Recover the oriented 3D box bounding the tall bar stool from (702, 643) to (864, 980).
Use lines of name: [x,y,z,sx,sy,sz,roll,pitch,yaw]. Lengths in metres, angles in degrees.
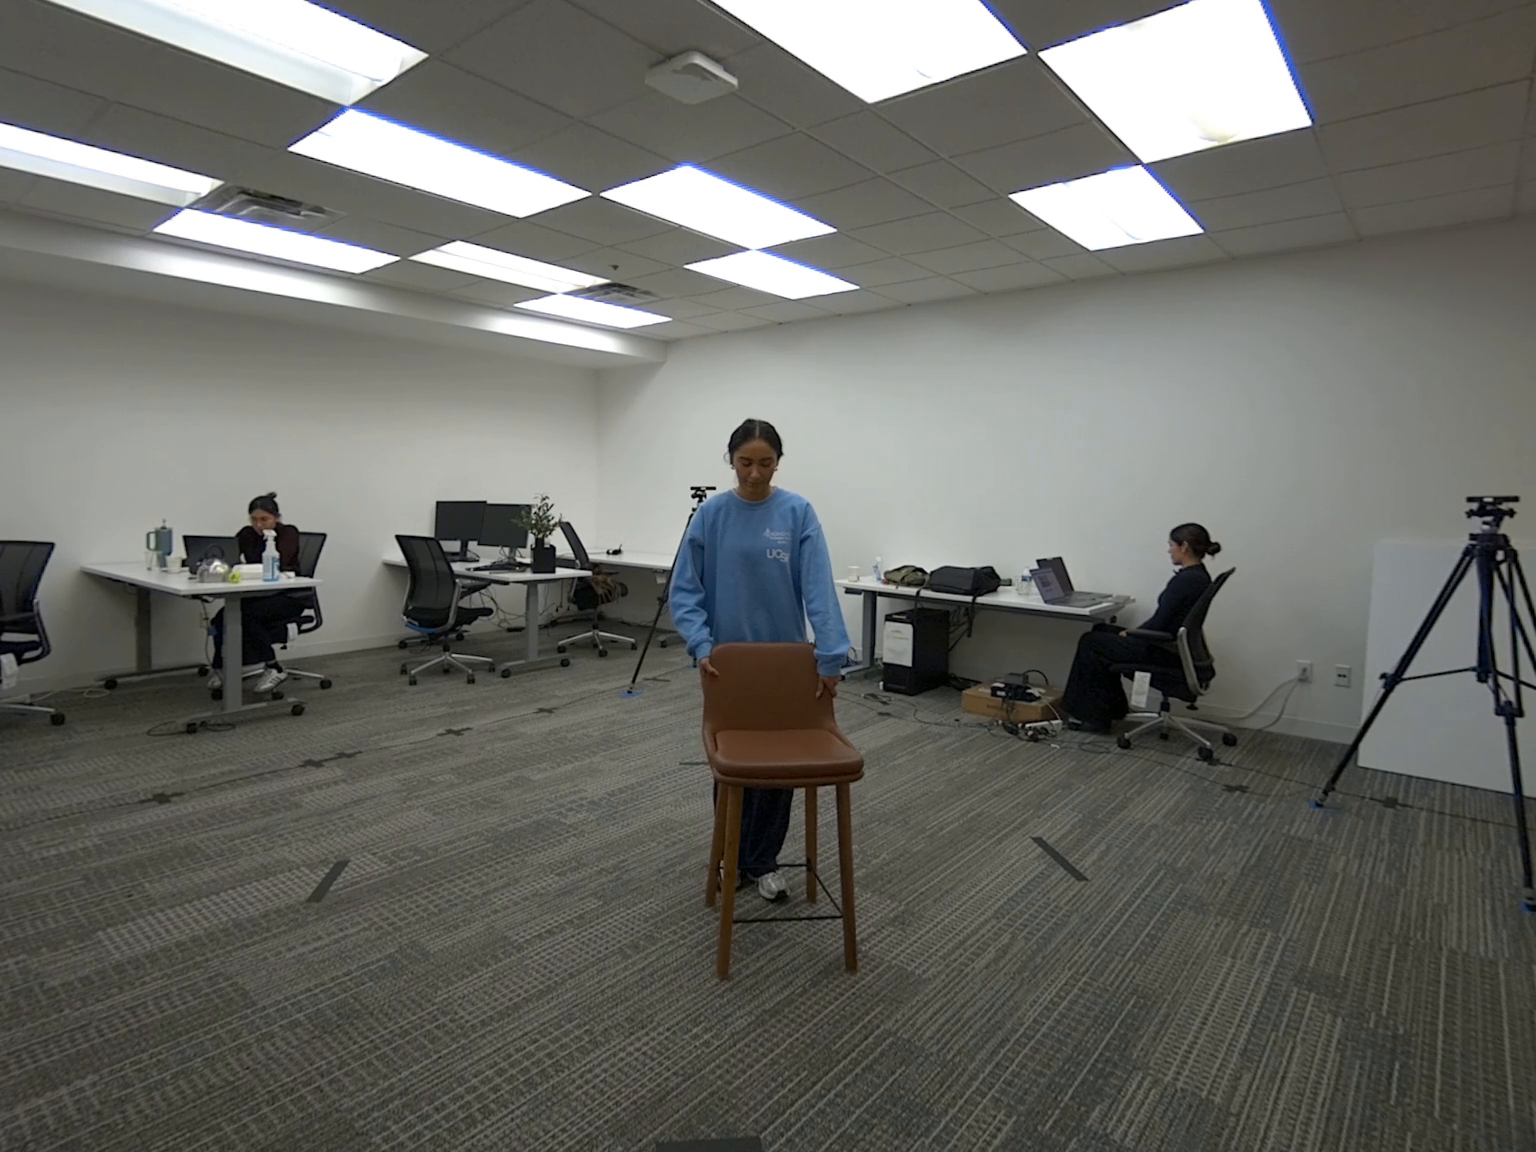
tall bar stool: [0.023,0.679,2.631,0.452,0.889,0.473,1,2,-9]
